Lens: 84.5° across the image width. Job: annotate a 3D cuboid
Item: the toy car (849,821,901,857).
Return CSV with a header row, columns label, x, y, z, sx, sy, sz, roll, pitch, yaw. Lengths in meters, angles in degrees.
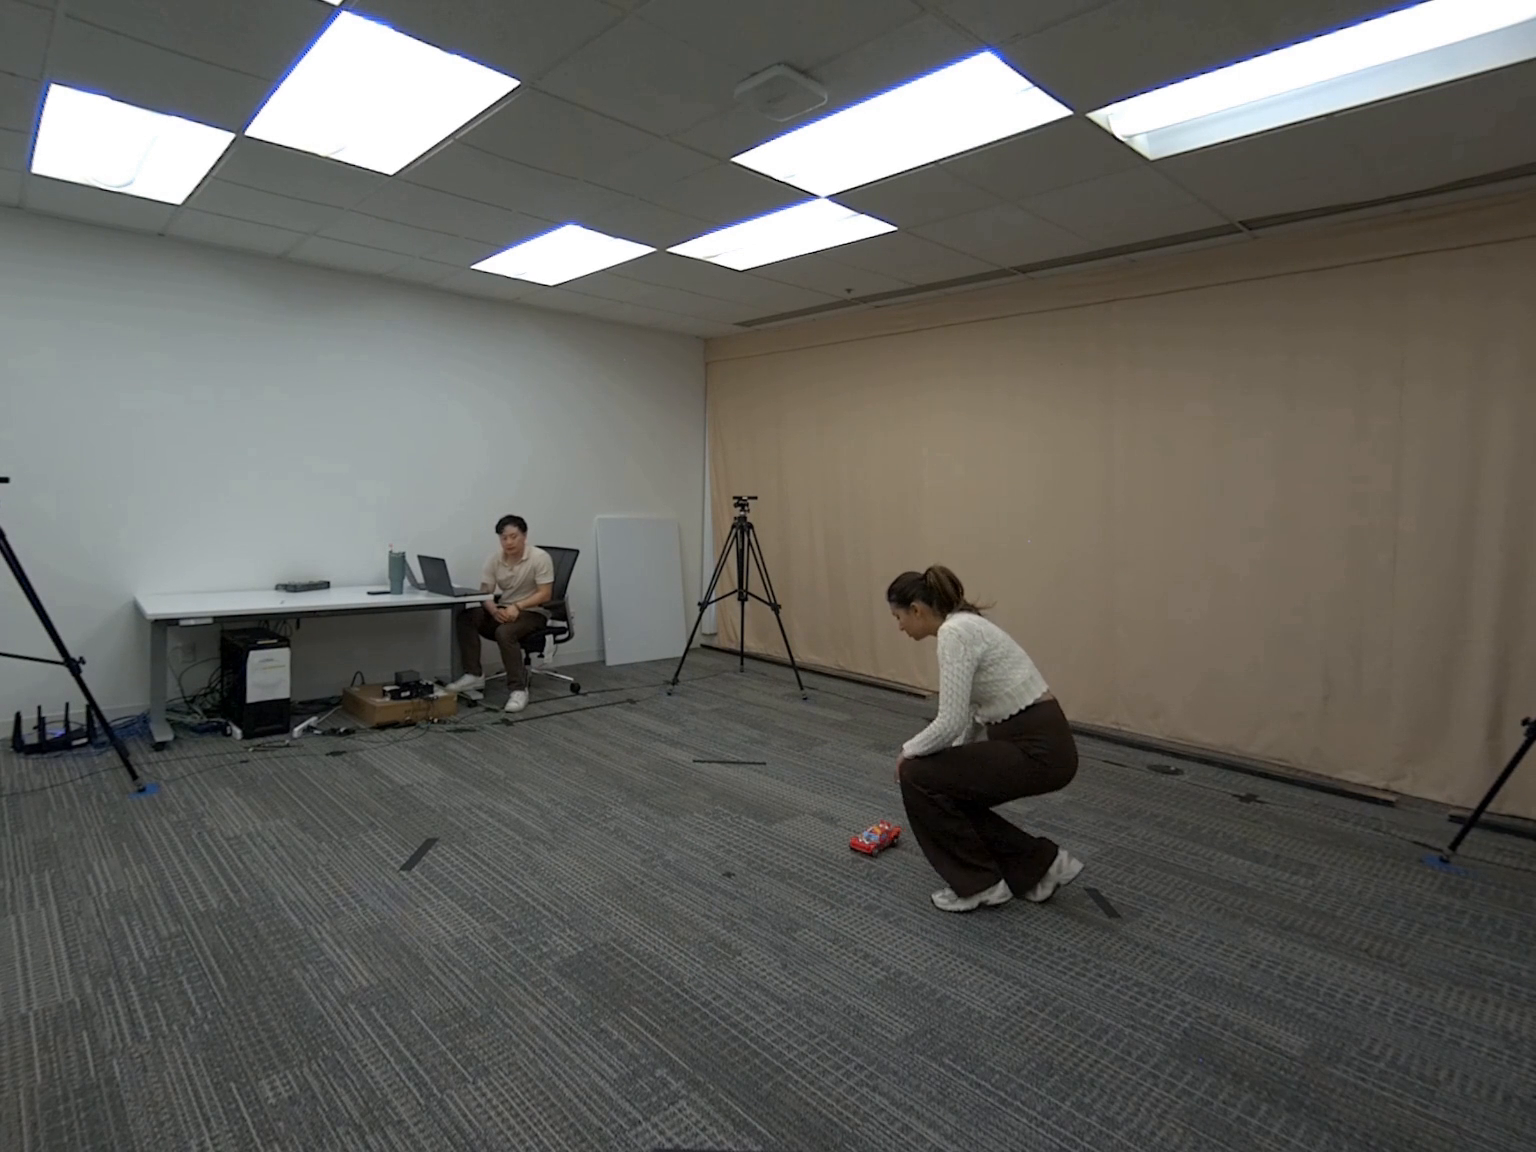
label,x,y,z,sx,sy,sz,roll,pitch,yaw
toy car,0.435,1.059,3.394,0.133,0.082,0.250,6,17,41
